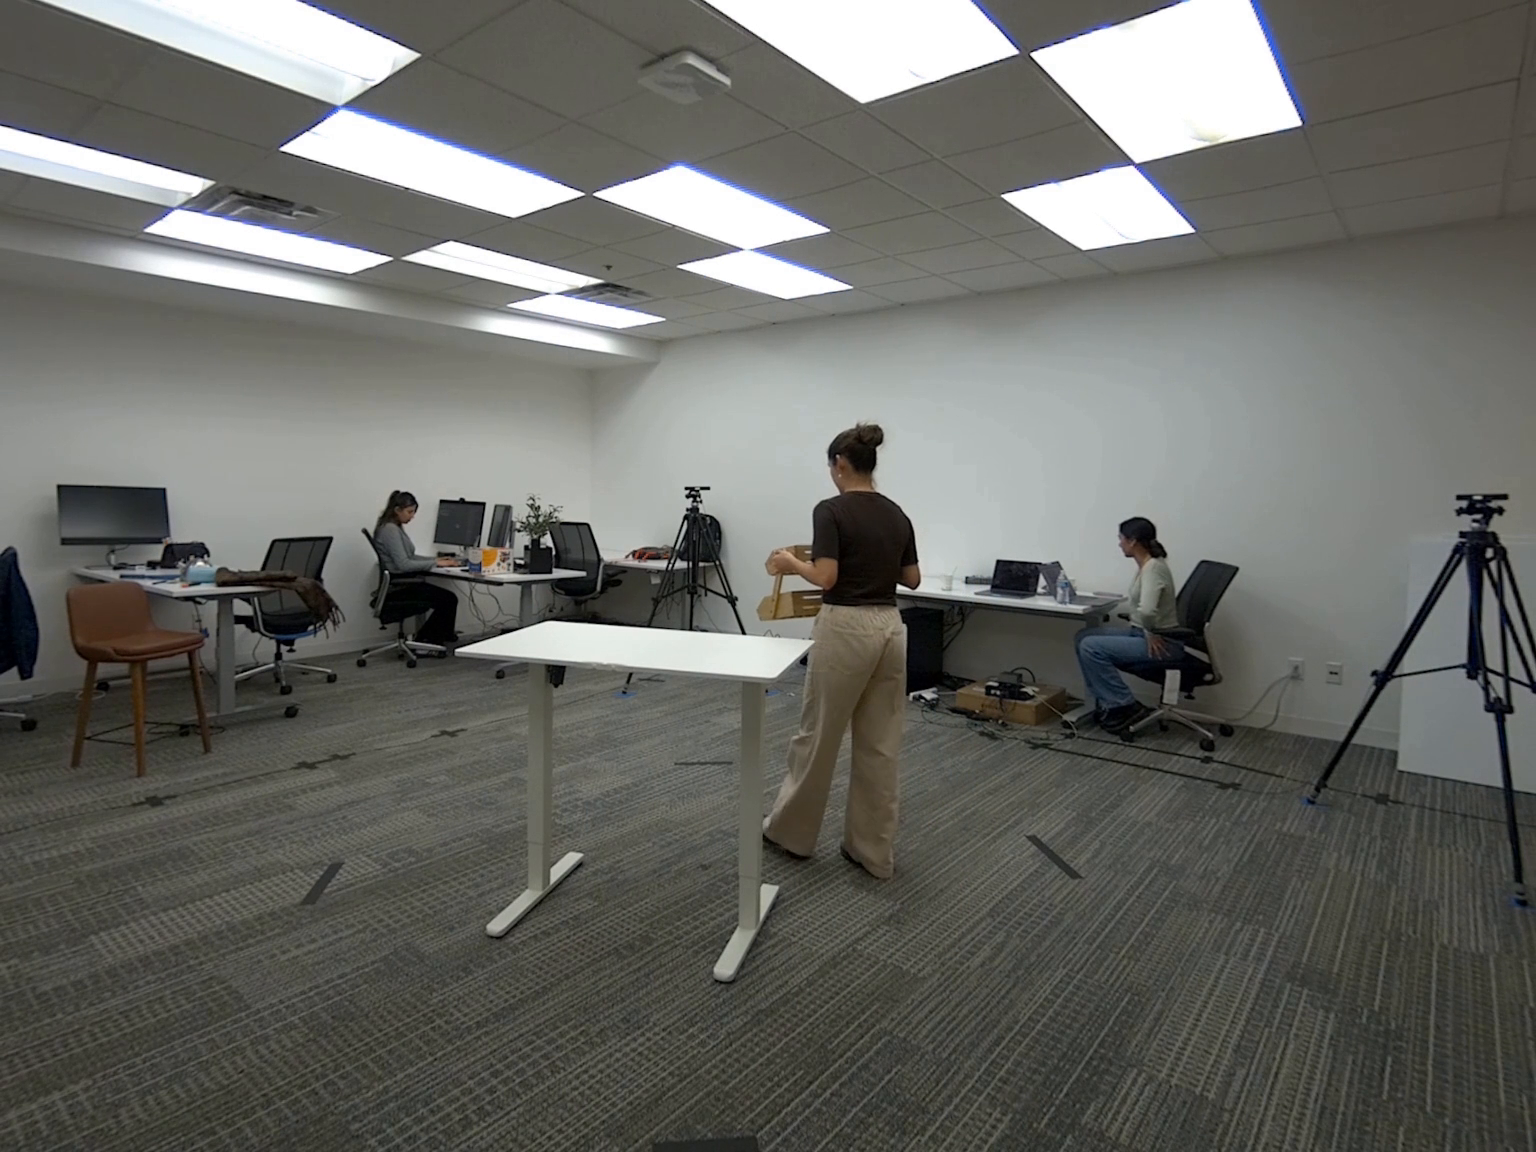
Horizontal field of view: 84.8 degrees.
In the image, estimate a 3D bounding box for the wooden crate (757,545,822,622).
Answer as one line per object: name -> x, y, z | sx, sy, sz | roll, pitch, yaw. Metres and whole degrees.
wooden crate -> 0.137, 0.016, 3.355 | 0.315, 0.275, 0.308 | -1, -7, -32
